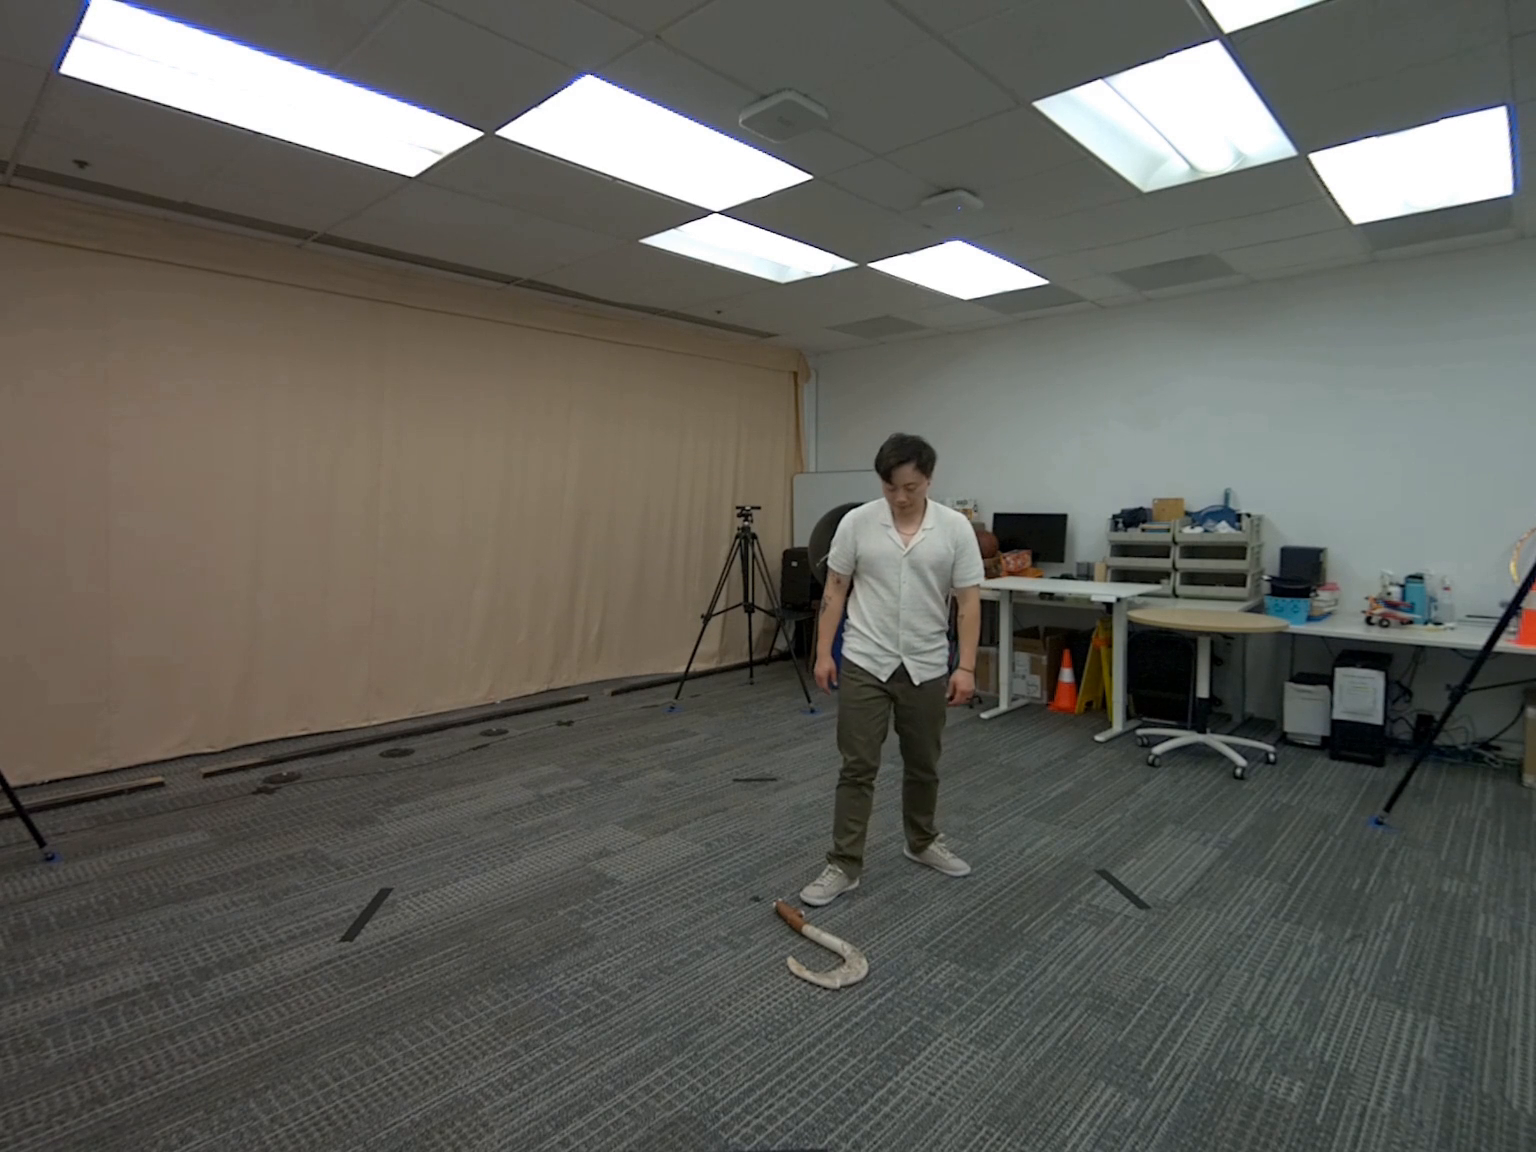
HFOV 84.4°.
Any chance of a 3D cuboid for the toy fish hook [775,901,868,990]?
[{"bbox_3d":[0.115,1.149,2.652,0.219,0.048,0.521,-1,4,-29],"label":"toy fish hook"}]
